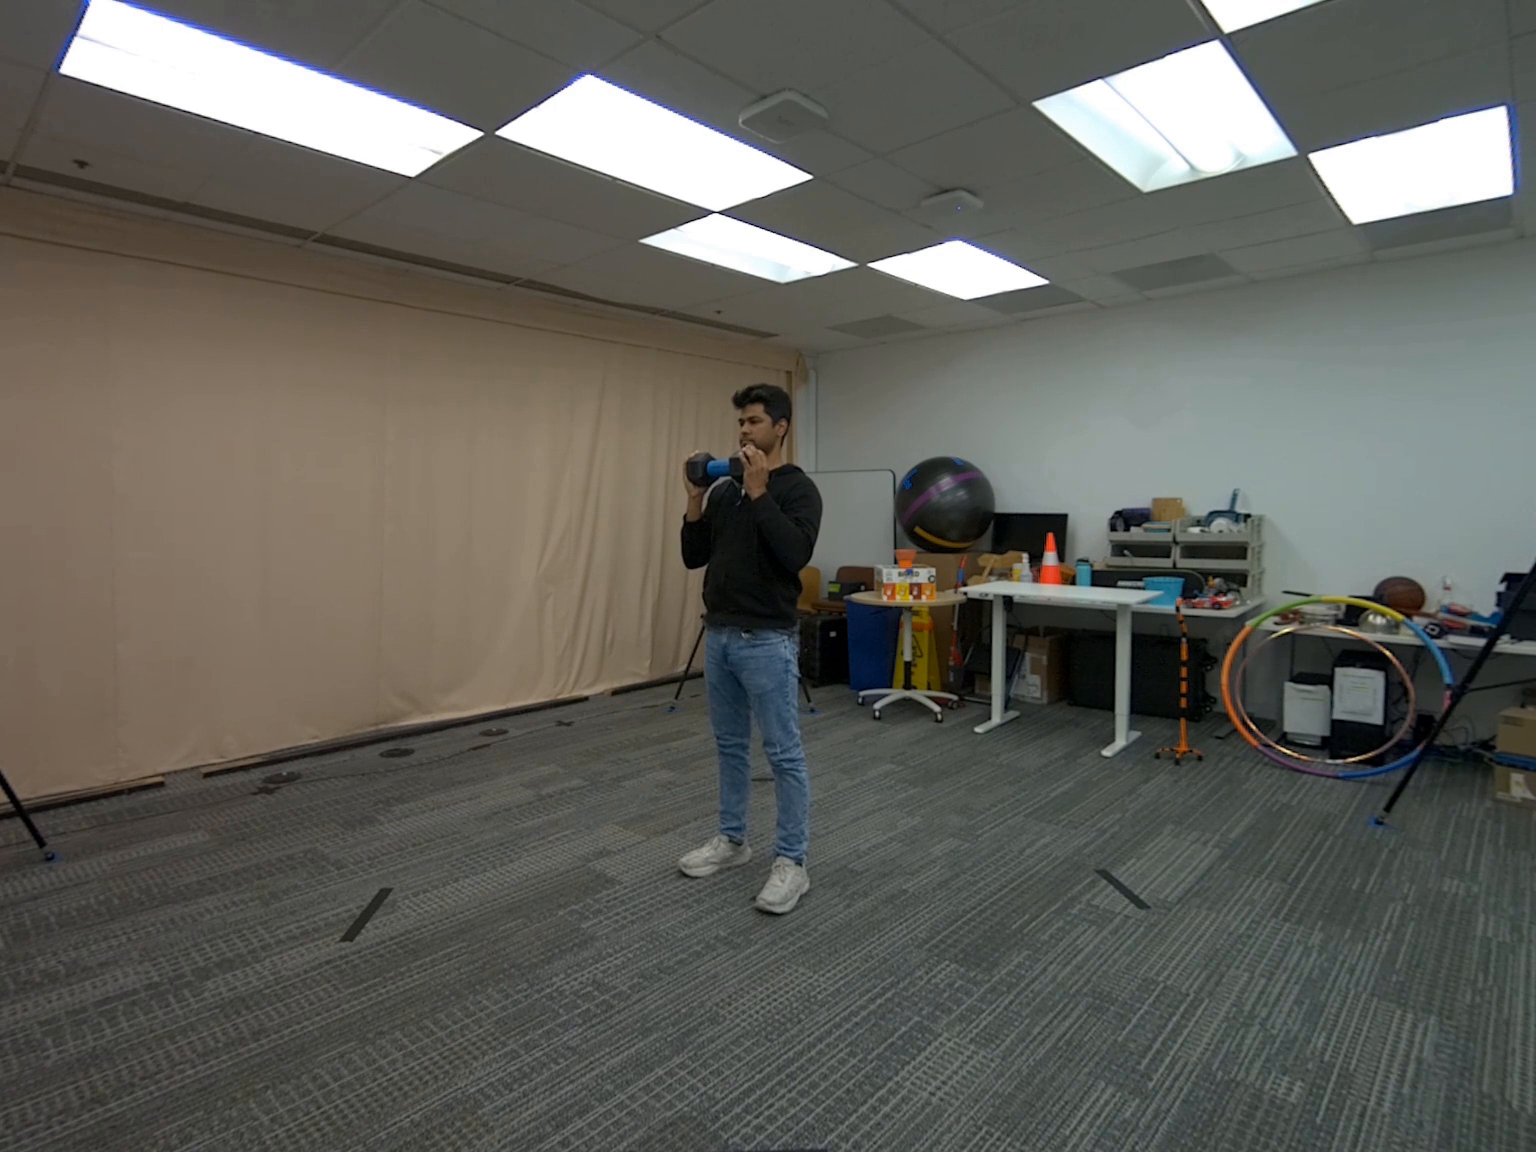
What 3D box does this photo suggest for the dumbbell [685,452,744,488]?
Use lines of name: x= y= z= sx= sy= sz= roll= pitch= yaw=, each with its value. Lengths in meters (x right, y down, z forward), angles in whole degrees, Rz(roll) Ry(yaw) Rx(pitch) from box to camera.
dumbbell: x=-0.148 y=-0.376 z=2.955 sx=0.303 sy=0.123 sz=0.105 roll=2 pitch=3 yaw=43
